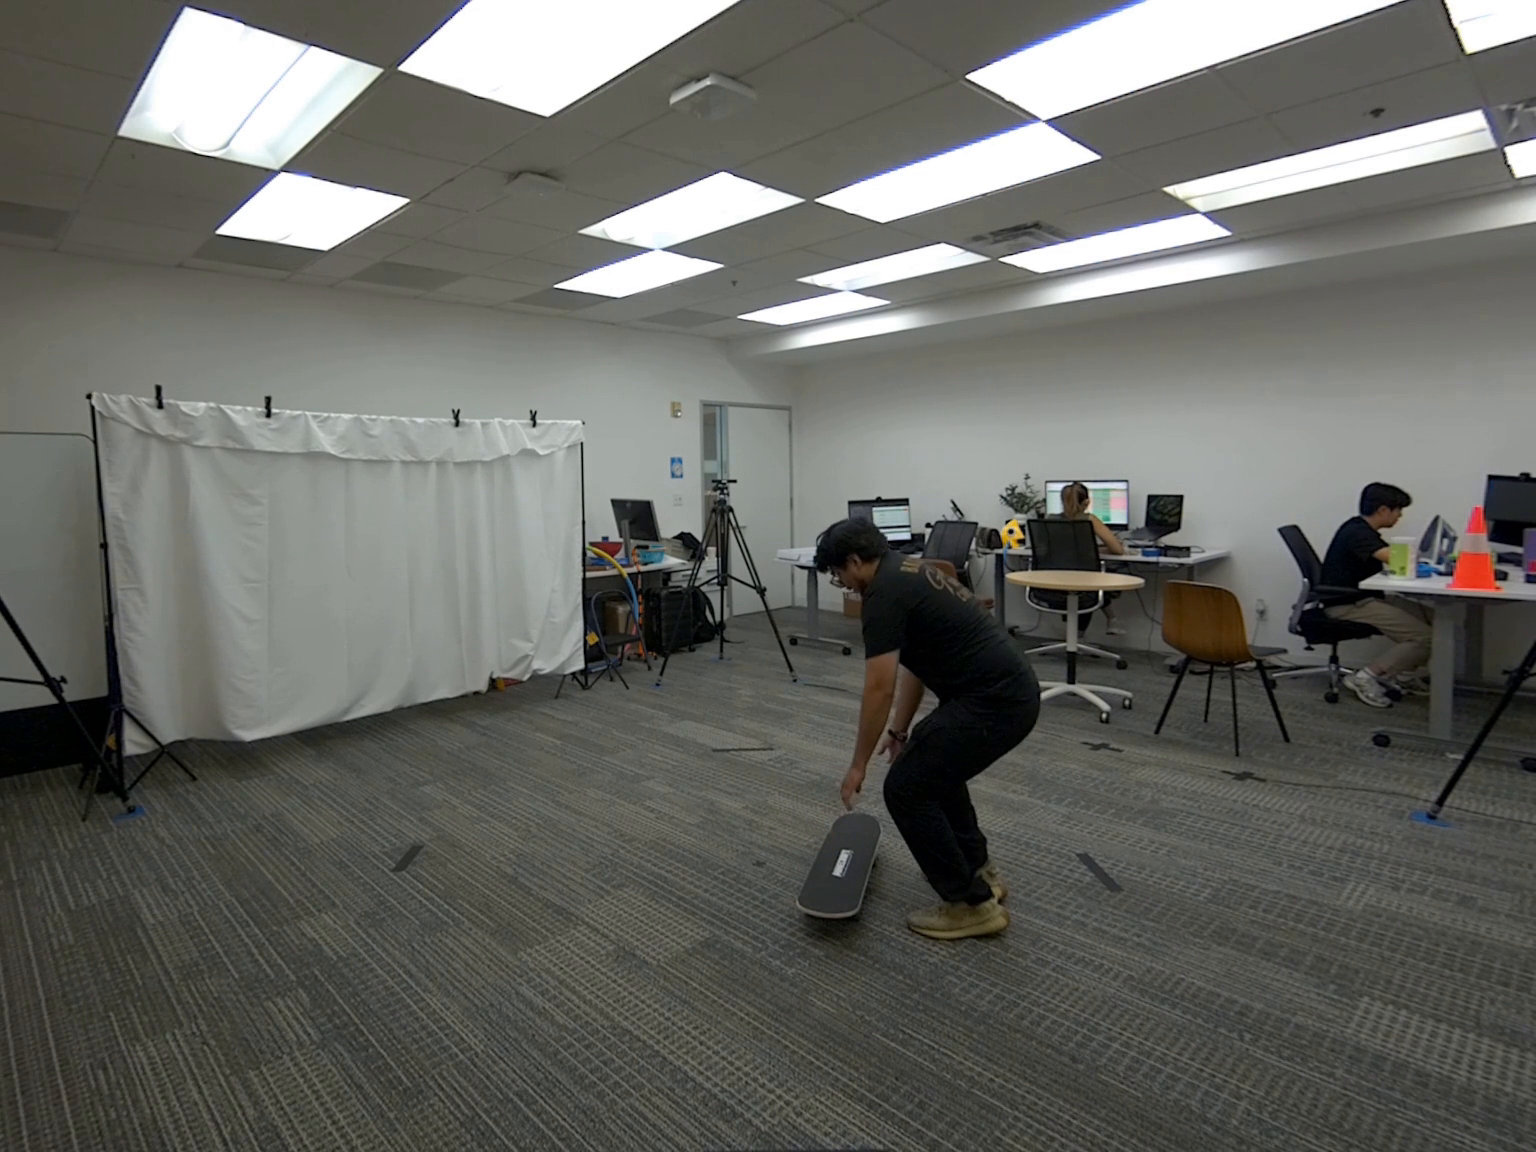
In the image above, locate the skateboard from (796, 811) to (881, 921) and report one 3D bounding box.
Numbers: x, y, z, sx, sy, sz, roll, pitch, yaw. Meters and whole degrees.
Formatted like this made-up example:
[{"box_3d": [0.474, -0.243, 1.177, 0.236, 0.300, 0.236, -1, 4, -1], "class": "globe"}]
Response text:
[{"box_3d": [0.253, 1.006, 2.913, 0.196, 0.110, 0.777, 1, 7, 15], "class": "skateboard"}]
